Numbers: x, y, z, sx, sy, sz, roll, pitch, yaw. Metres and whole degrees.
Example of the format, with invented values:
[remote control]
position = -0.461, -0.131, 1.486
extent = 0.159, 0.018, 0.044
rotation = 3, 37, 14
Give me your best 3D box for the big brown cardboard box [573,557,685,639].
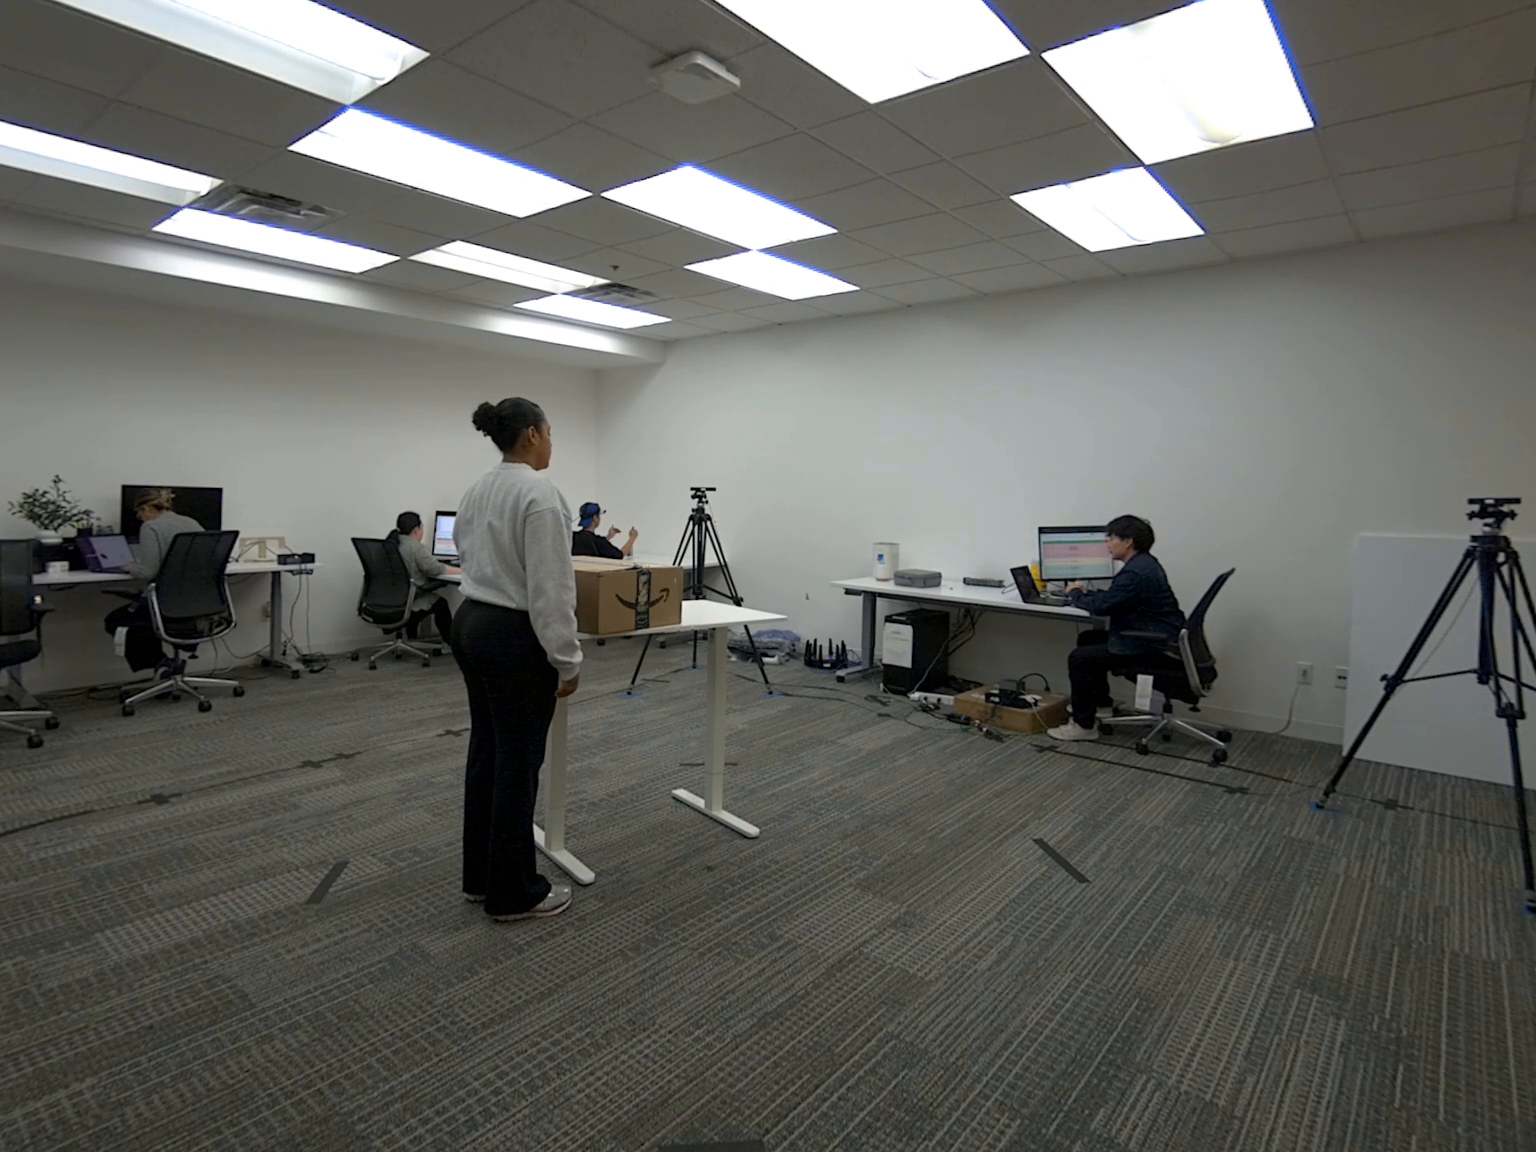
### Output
[big brown cardboard box]
position = -0.677, 0.059, 3.181
extent = 0.608, 0.232, 0.405
rotation = 4, 5, 39
